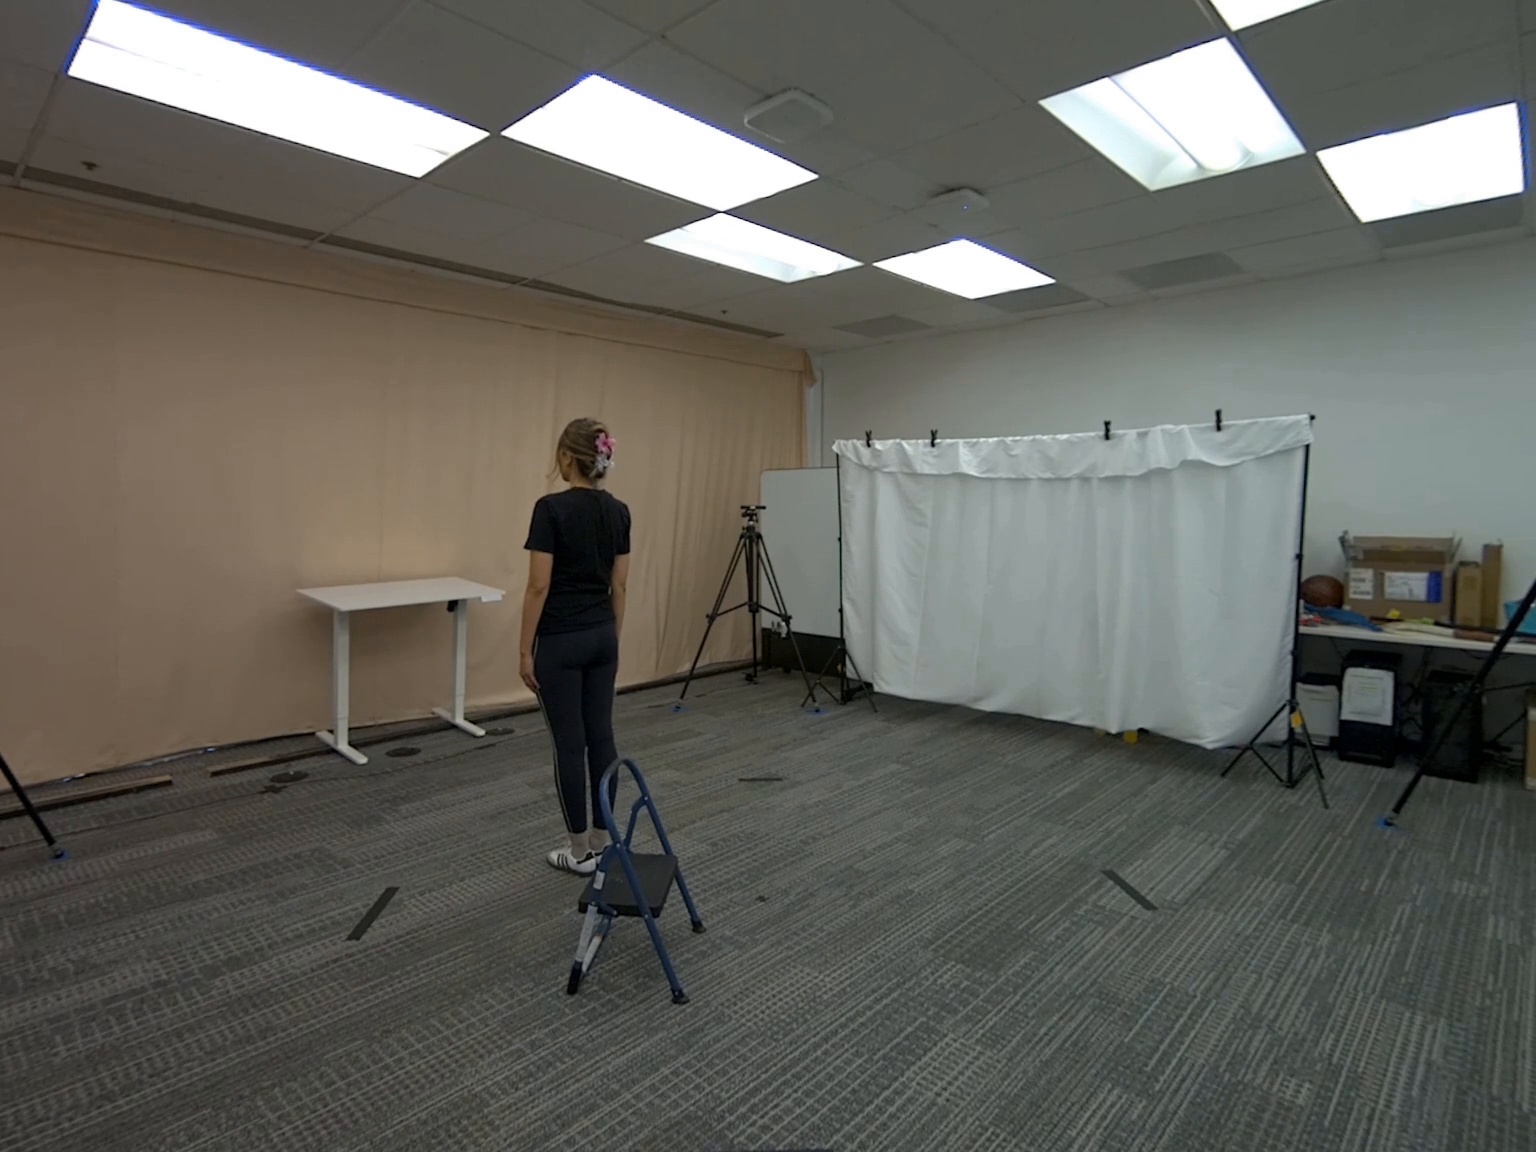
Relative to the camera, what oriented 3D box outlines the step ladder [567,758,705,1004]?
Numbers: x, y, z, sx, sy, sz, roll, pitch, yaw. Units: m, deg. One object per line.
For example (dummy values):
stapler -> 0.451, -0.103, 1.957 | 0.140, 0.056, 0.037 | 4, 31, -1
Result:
step ladder -> -0.391, 0.882, 2.566 | 0.351, 0.605, 0.429 | 1, 3, 4
